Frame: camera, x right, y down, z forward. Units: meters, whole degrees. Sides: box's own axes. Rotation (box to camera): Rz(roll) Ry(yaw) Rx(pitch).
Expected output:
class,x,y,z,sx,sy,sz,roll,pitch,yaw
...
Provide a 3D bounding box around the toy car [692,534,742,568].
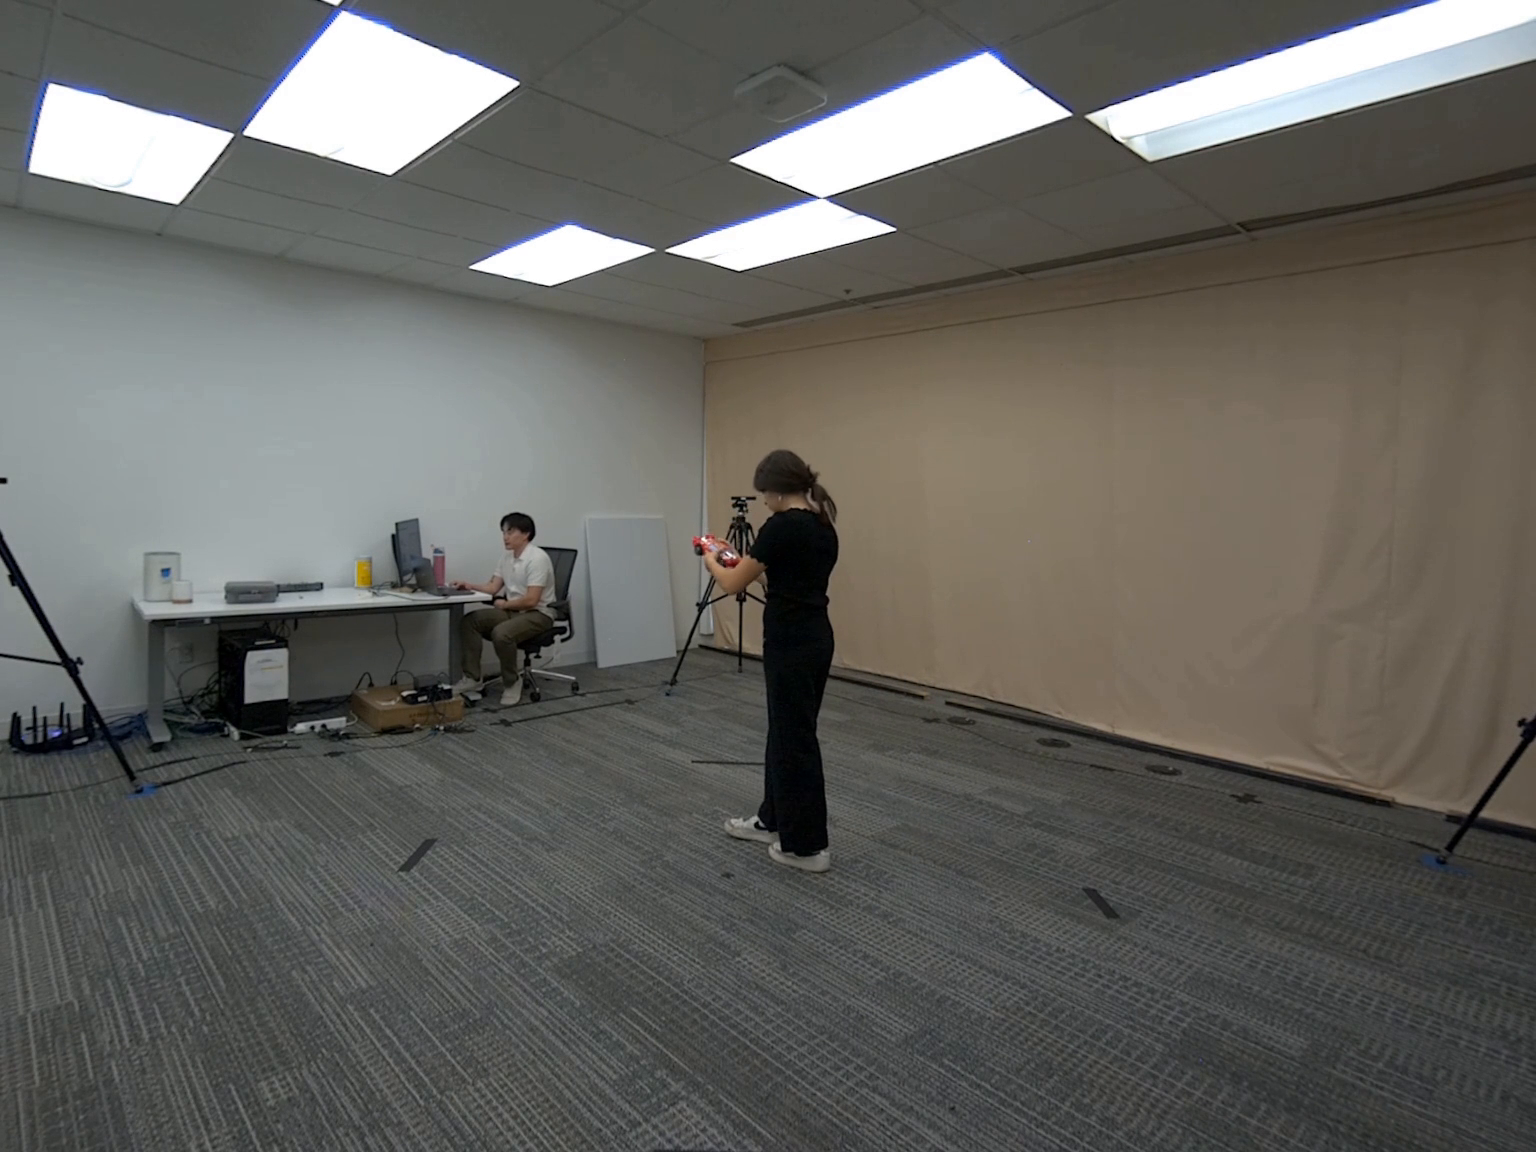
class,x,y,z,sx,sy,sz,roll,pitch,yaw
toy car,-0.217,-0.101,3.438,0.127,0.082,0.263,0,31,-41
